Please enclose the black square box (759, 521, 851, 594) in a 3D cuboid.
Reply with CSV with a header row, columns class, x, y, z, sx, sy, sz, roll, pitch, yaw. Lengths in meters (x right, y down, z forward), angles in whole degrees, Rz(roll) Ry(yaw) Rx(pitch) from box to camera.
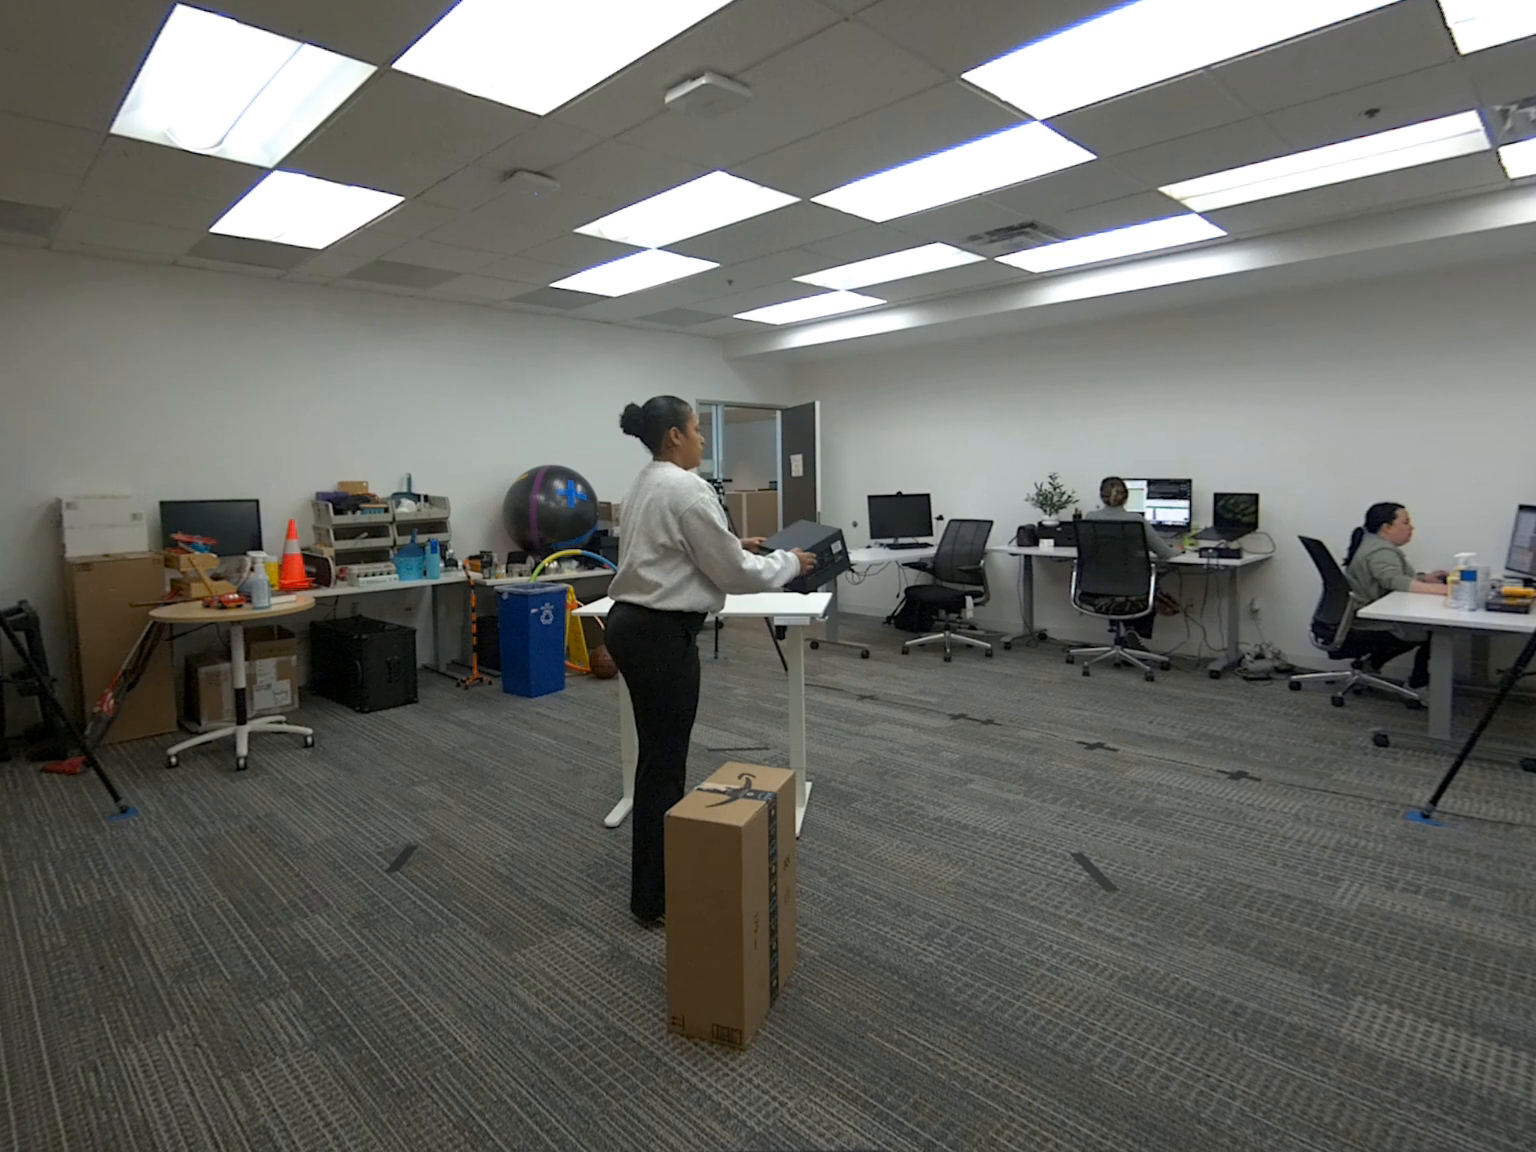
class,x,y,z,sx,sy,sz,roll,pitch,yaw
black square box,0.120,-0.063,3.007,0.215,0.152,0.235,-29,26,-27
